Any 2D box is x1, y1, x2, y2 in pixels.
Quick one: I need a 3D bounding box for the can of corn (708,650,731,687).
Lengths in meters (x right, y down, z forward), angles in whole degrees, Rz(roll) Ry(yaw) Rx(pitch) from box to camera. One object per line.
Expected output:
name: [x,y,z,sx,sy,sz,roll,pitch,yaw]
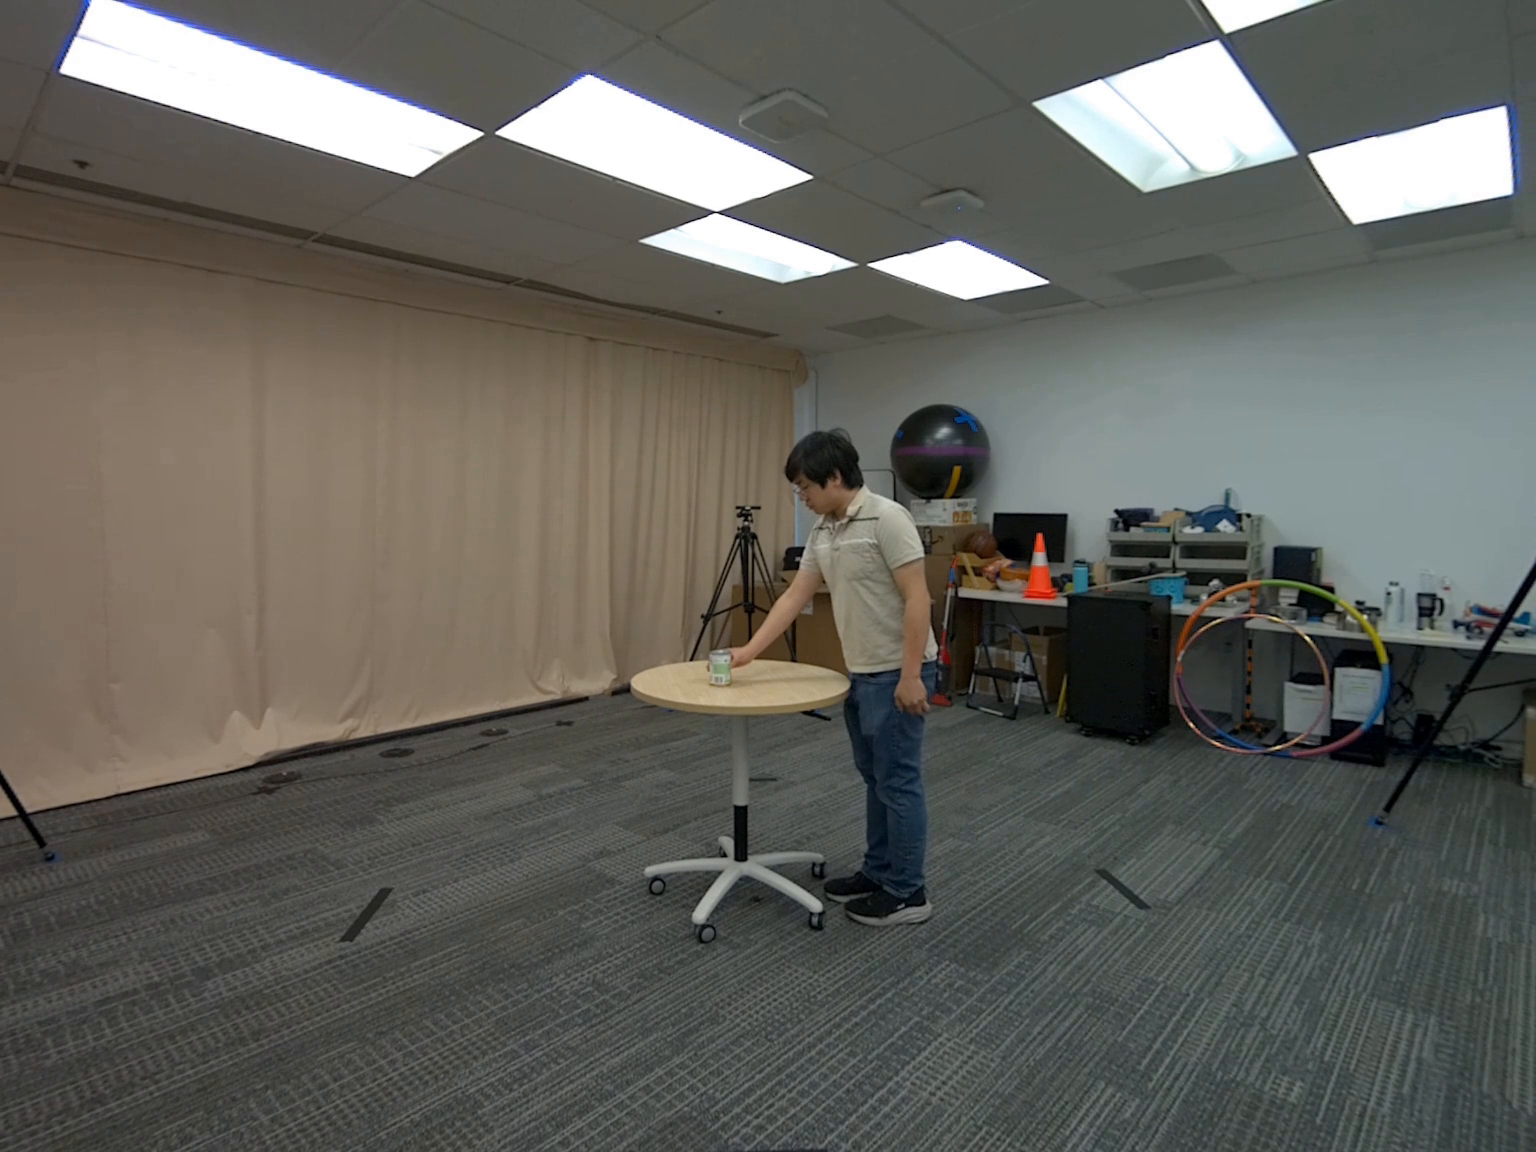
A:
can of corn: [-0.159,0.320,2.873,0.074,0.111,0.074,0,0,-2]
